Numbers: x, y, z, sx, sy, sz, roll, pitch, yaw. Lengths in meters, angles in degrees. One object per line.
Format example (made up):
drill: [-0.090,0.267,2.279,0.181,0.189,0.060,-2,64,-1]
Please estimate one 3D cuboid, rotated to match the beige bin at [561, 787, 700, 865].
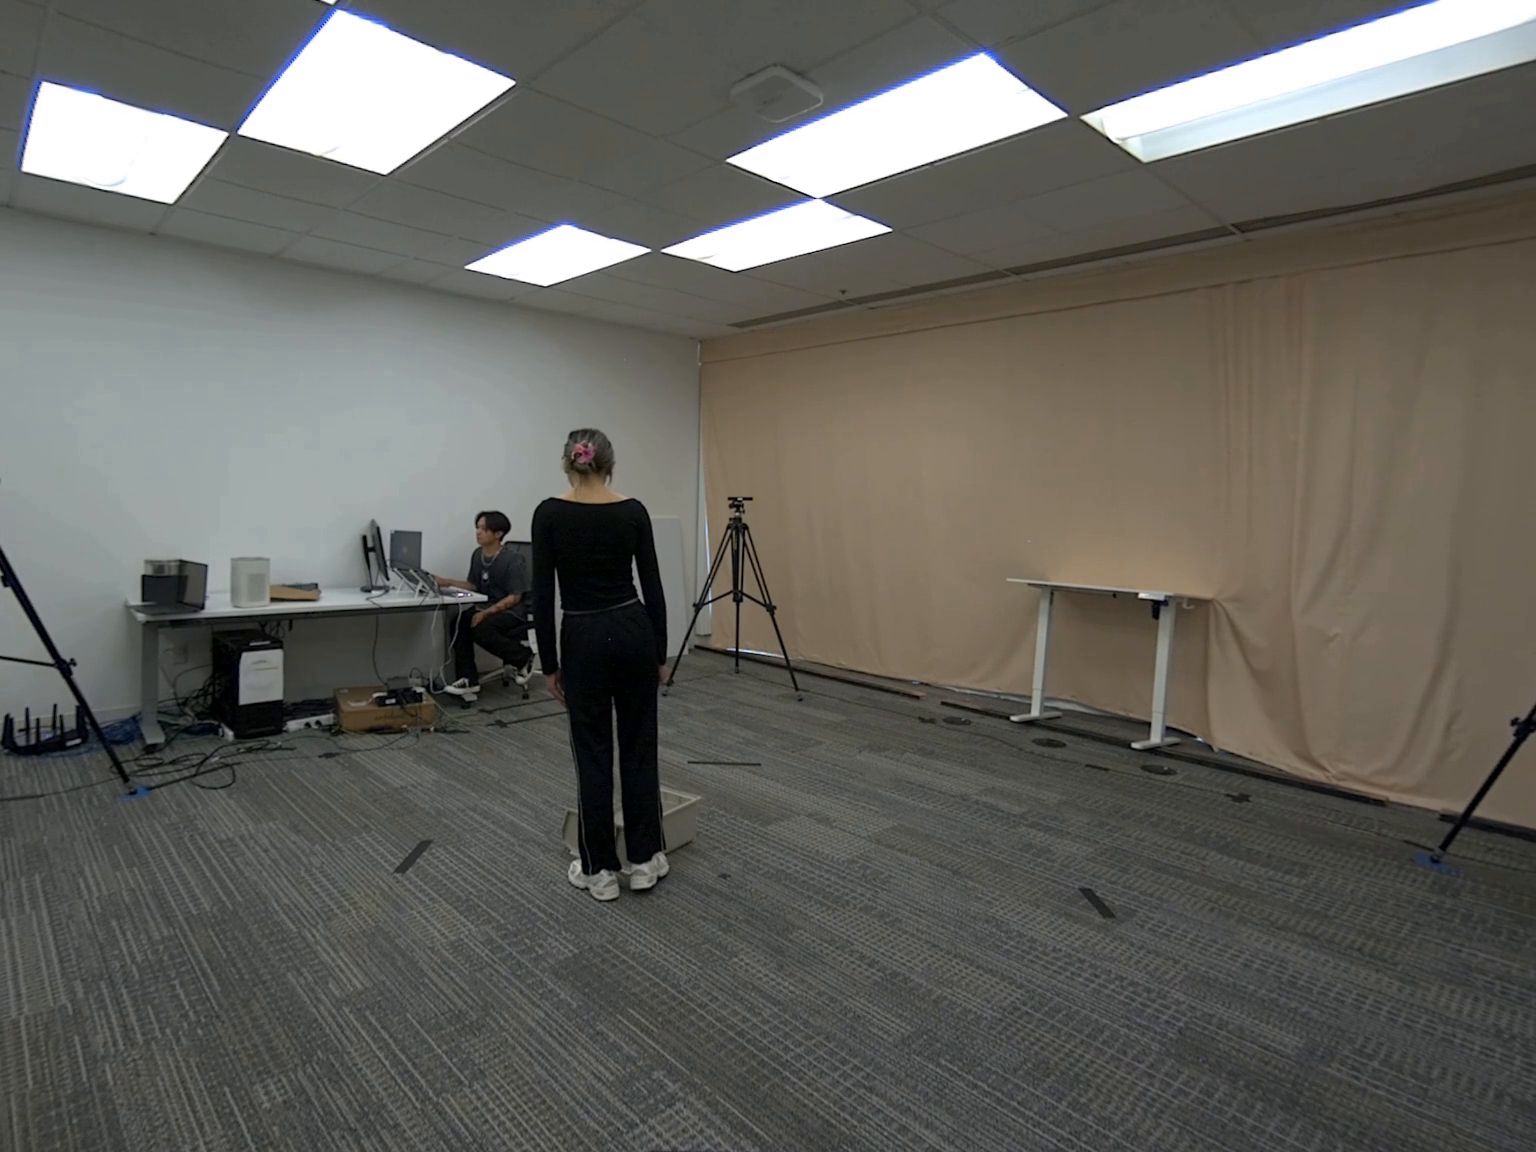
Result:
beige bin: [-0.542,0.987,3.347,0.386,0.188,0.414,6,6,33]
